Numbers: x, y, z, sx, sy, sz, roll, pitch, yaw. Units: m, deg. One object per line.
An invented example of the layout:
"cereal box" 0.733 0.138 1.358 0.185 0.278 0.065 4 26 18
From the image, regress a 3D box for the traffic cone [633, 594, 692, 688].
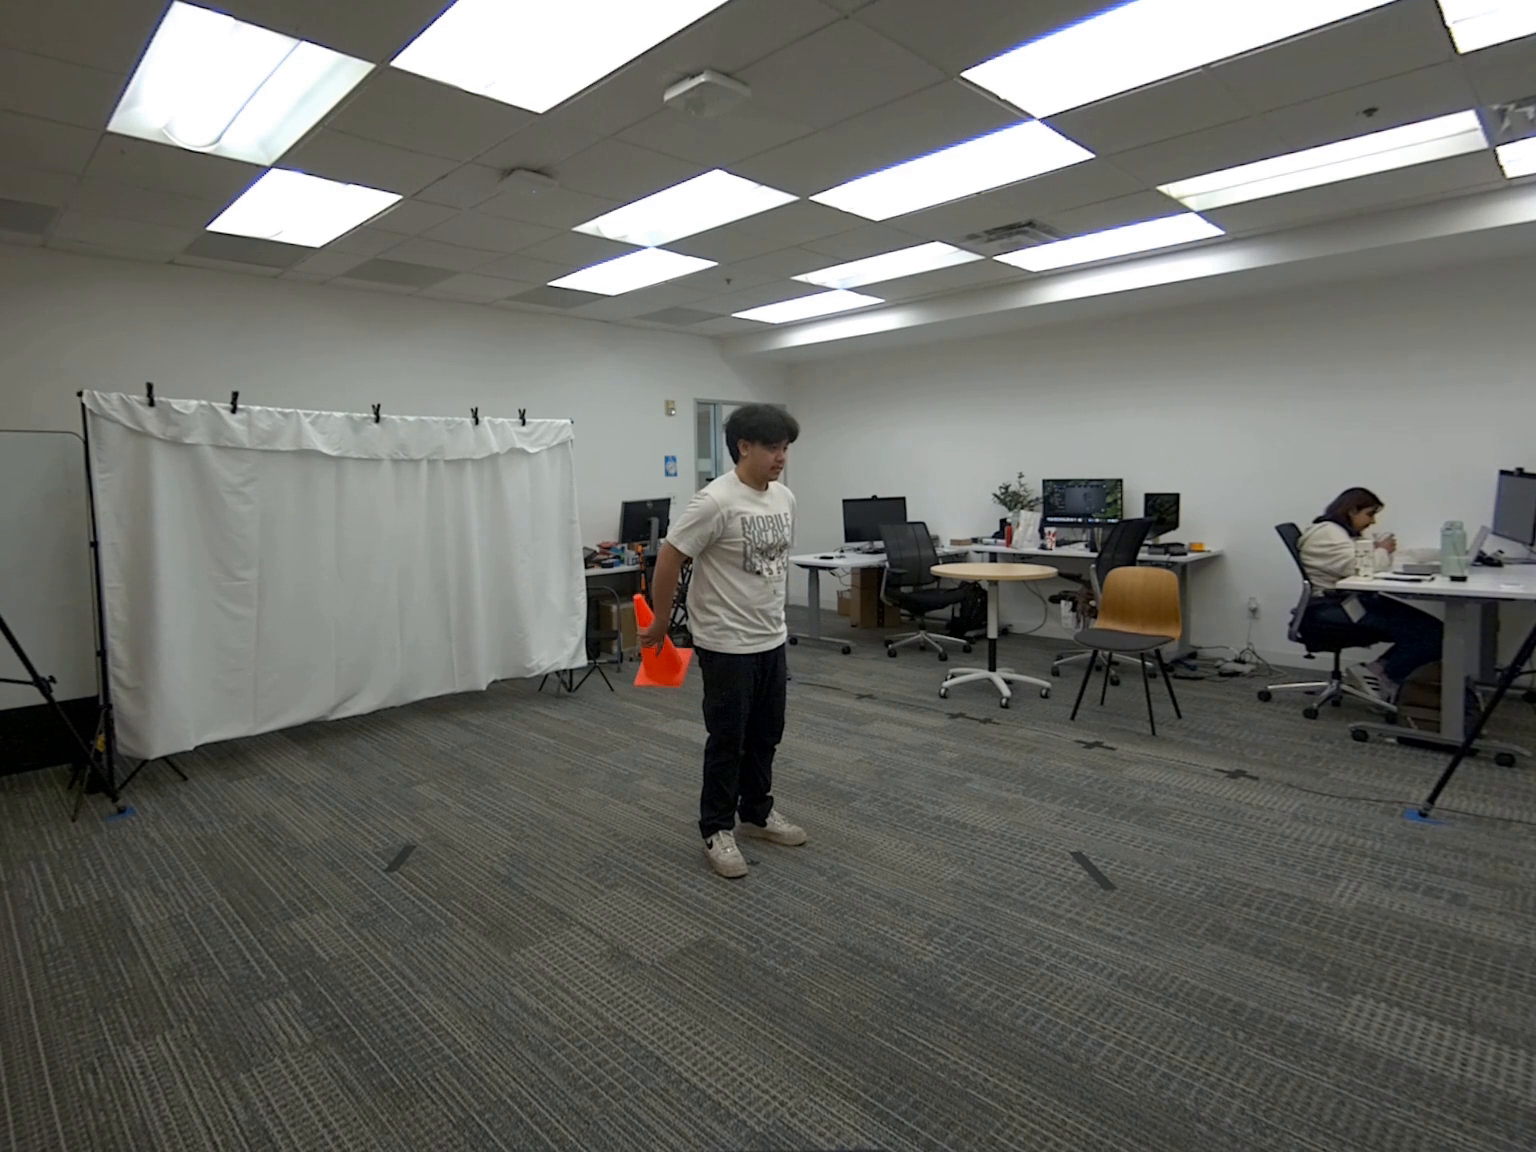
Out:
"traffic cone" -0.443 0.219 3.250 0.208 0.371 0.207 -2 39 14
